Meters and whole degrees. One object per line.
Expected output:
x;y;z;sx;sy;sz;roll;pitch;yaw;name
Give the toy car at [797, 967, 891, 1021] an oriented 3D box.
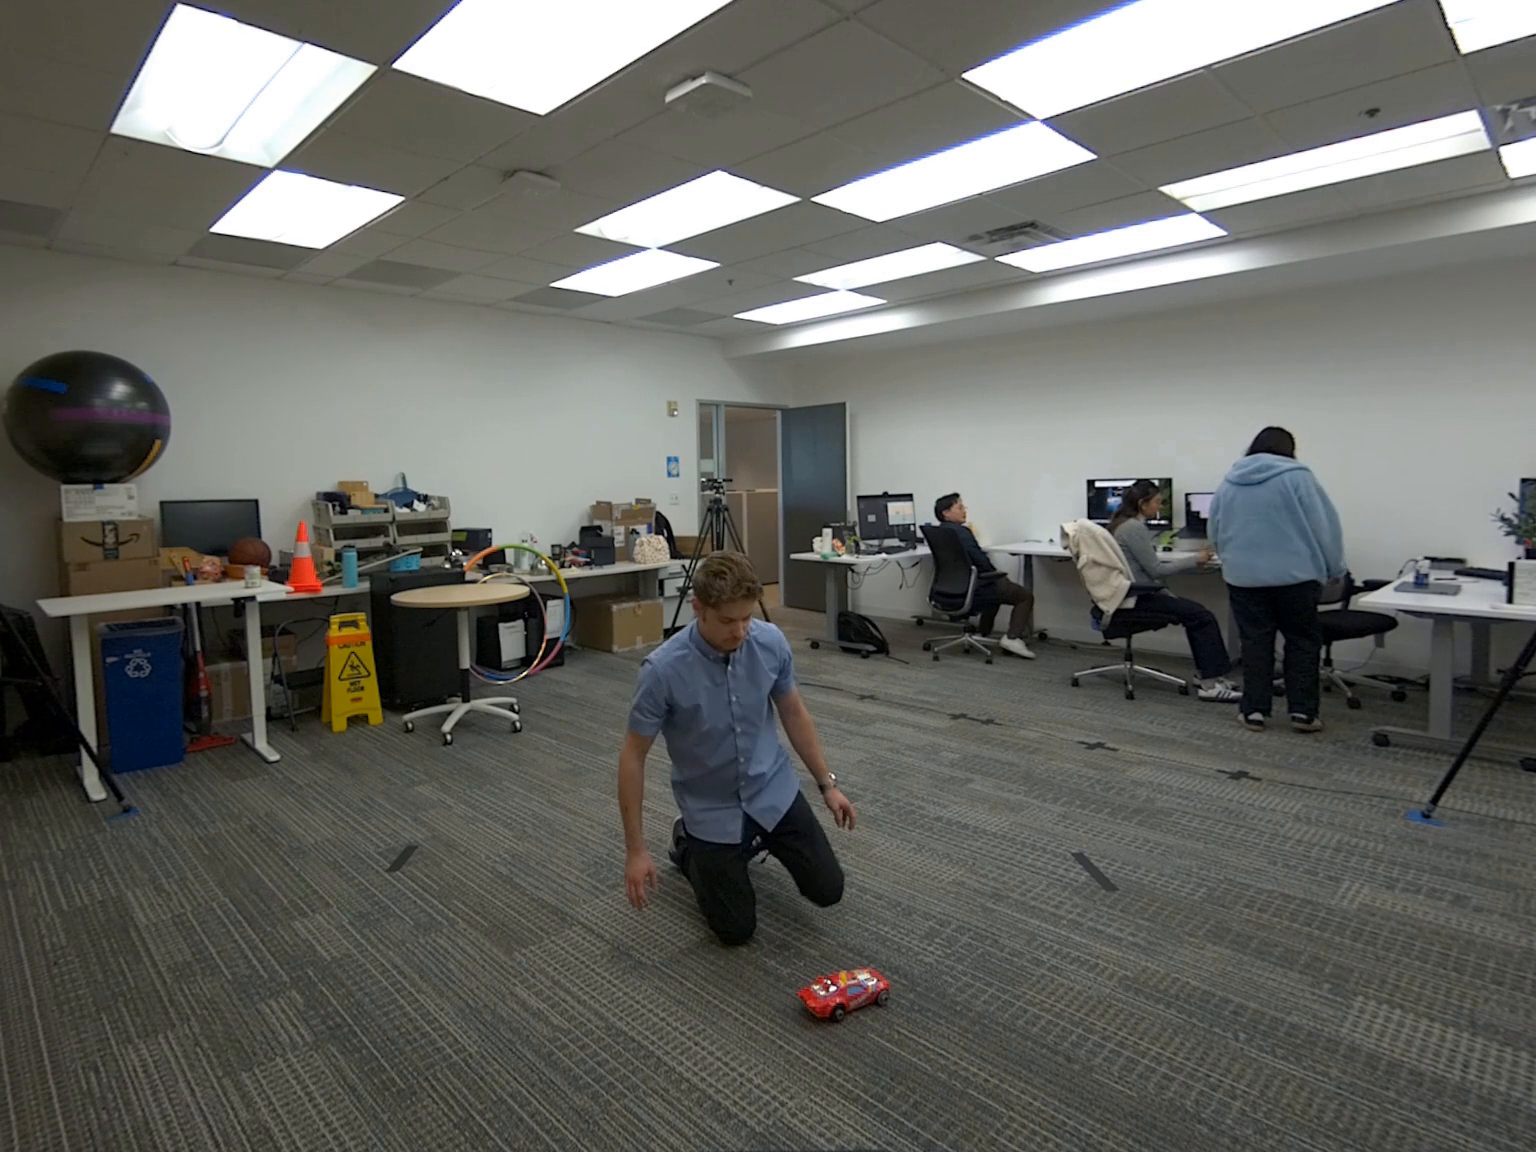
0.207;1.114;2.259;0.248;0.083;0.134;6;3;-30;toy car
